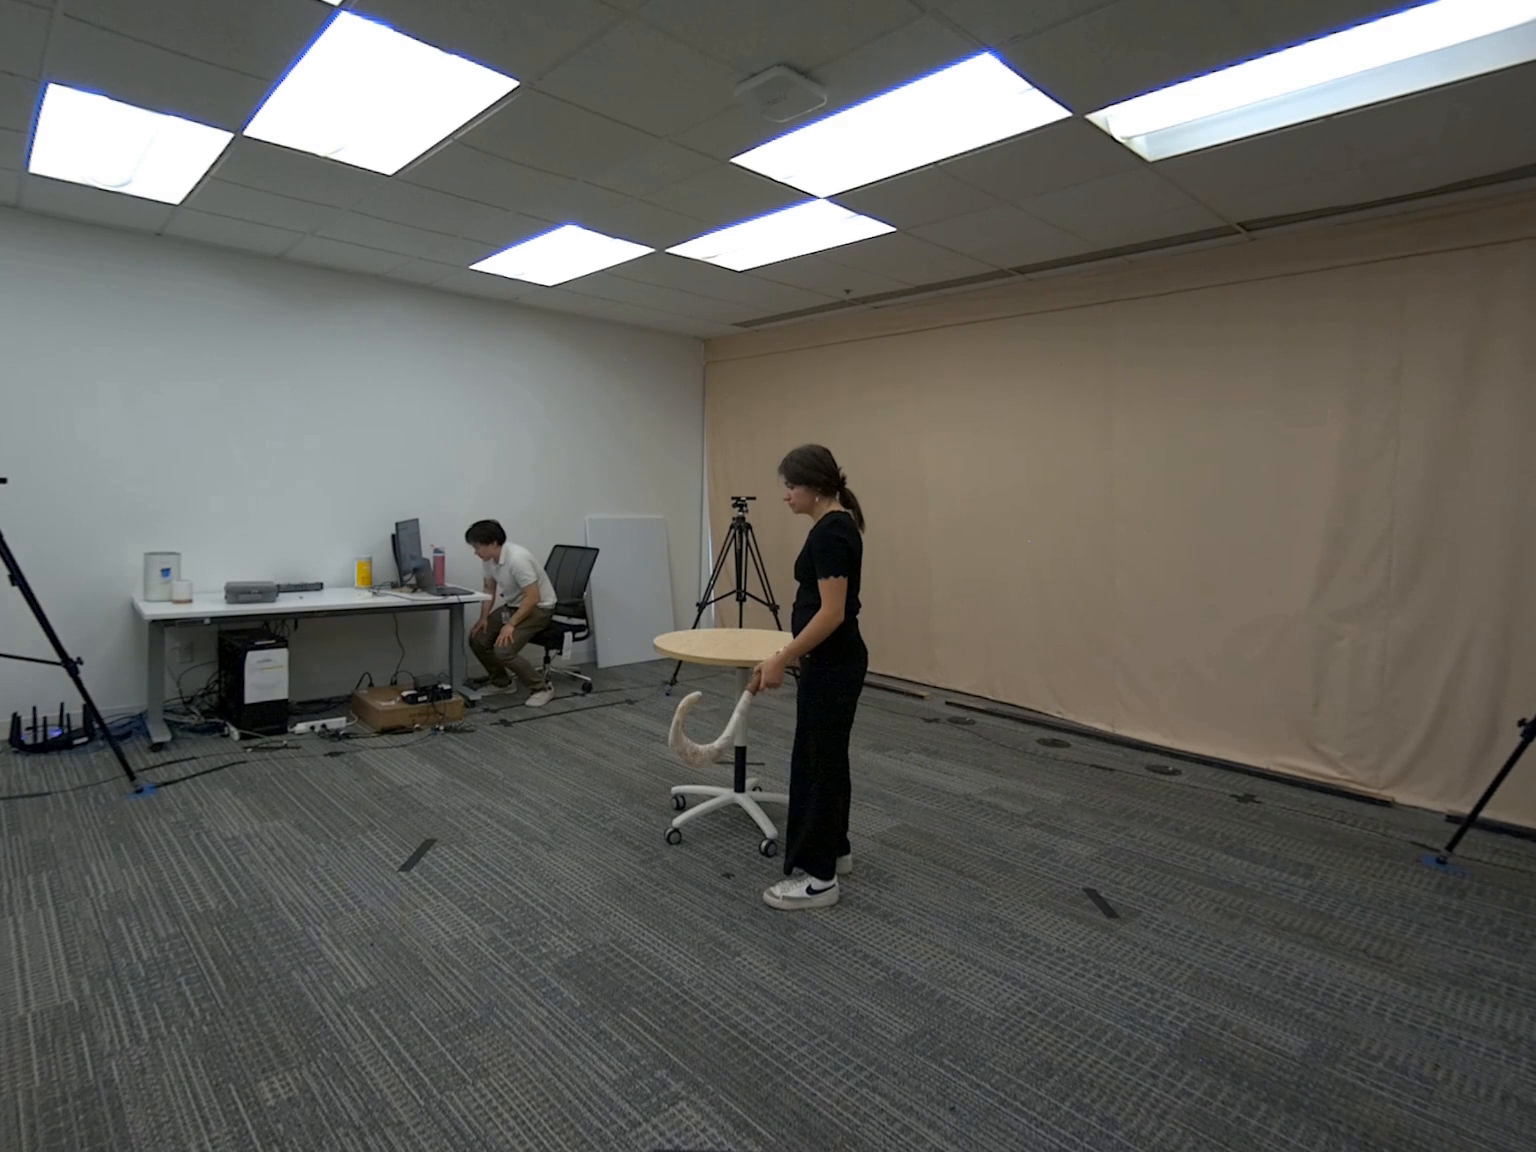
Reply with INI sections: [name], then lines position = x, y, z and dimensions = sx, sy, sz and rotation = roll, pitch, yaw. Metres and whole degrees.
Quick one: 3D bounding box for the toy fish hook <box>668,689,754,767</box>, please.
[toy fish hook]
position = -0.130, 0.391, 2.741
dimensions = 0.221, 0.506, 0.049
rotation = 47, -17, -16
